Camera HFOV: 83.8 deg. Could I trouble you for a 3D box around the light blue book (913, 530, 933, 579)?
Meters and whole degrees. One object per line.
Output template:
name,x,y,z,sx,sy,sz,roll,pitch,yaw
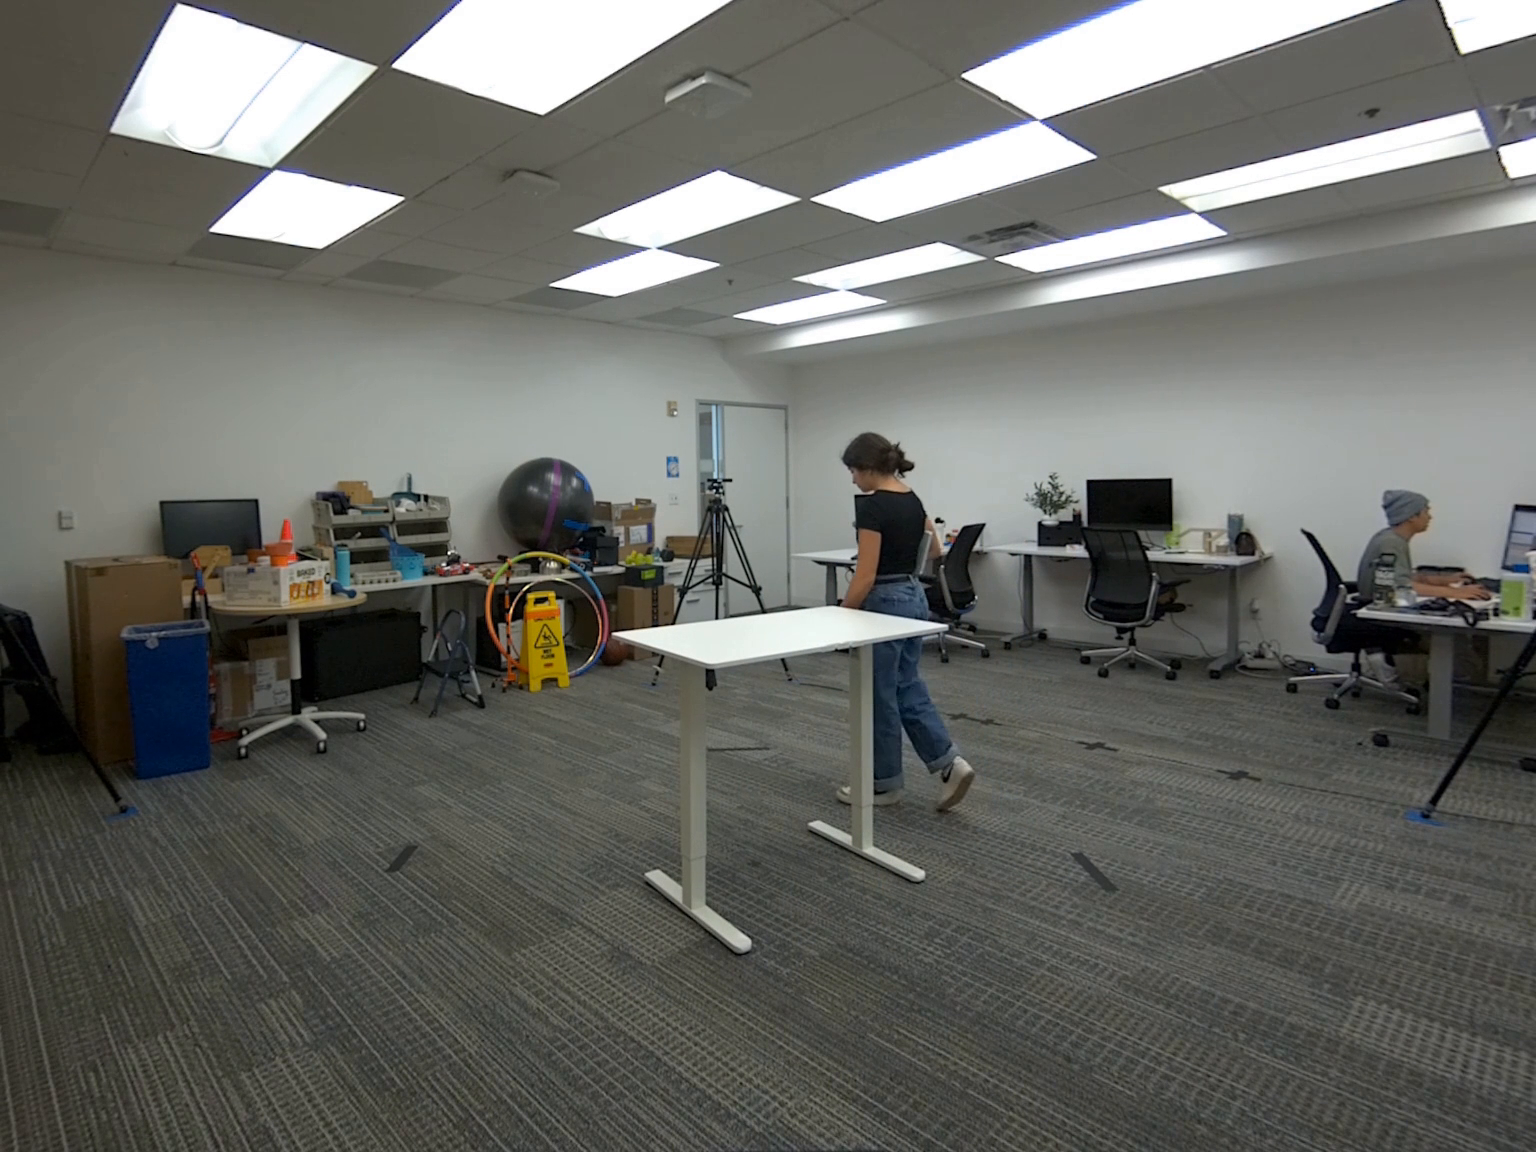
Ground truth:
light blue book,0.570,-0.142,3.711,0.267,0.189,0.058,18,18,19
